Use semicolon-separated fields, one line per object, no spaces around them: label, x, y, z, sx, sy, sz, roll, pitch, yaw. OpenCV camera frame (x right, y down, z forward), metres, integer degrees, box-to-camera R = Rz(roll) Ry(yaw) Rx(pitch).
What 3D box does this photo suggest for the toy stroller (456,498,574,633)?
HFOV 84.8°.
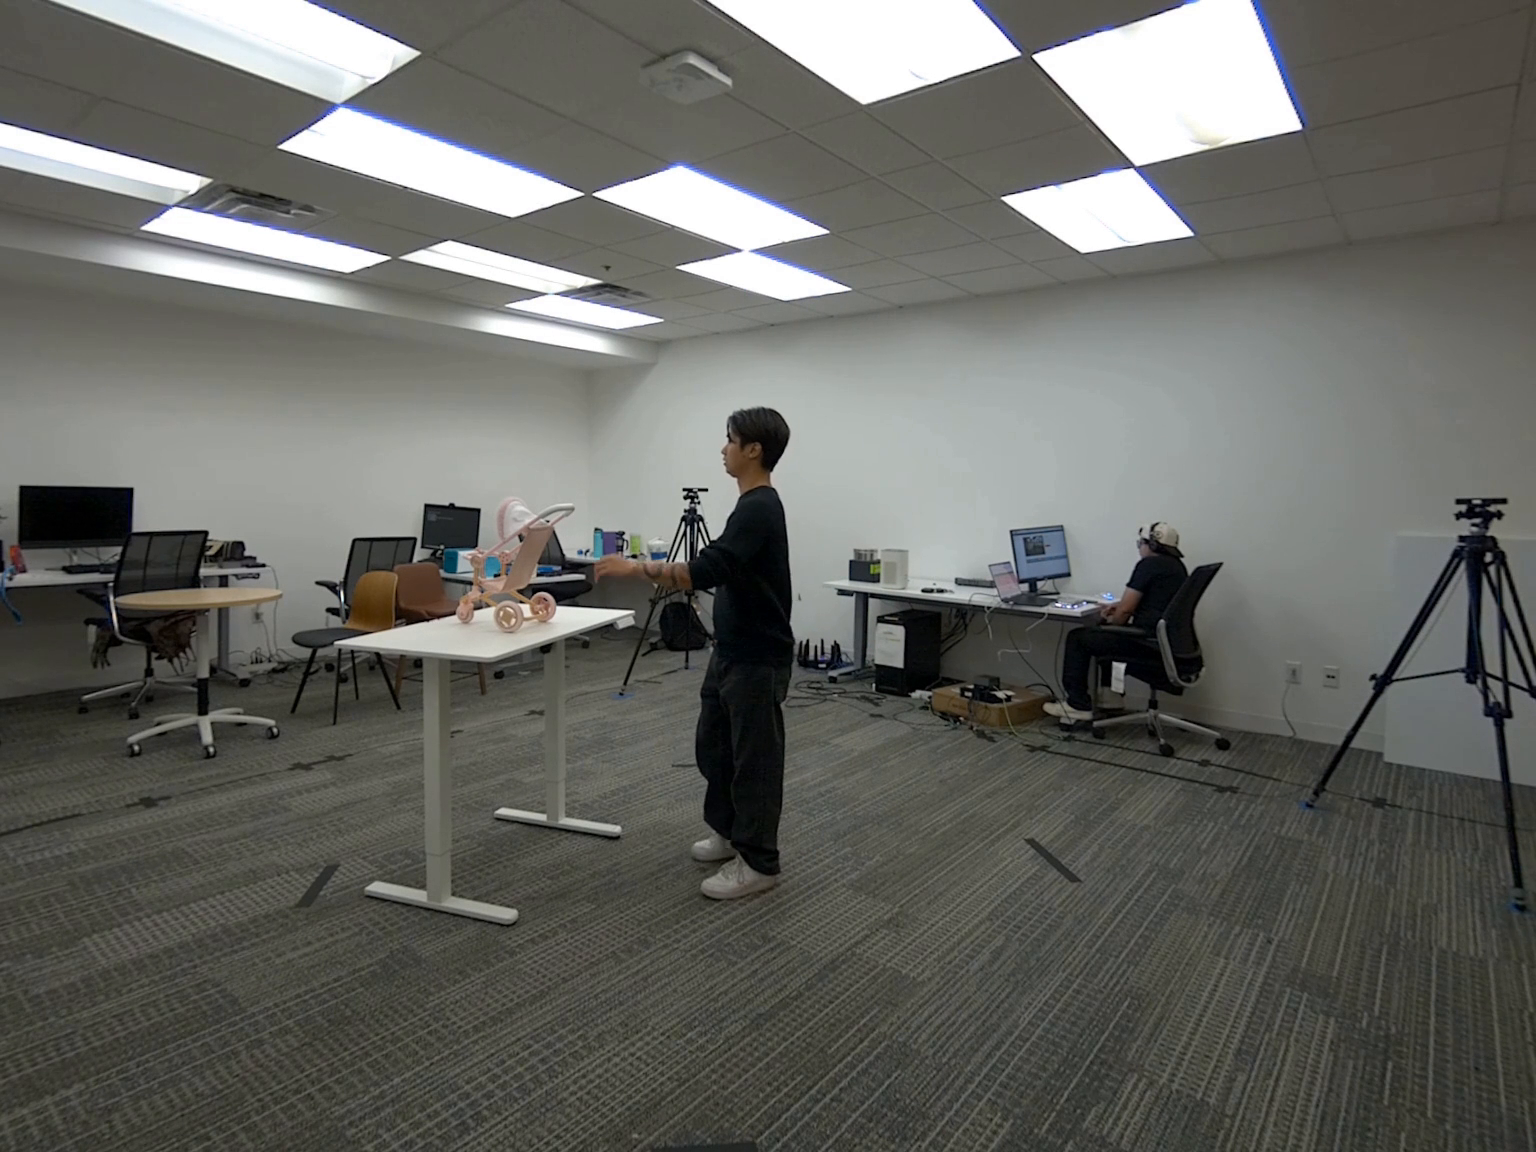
toy stroller;-0.949;-0.046;3.072;0.349;0.532;0.276;17;8;18
